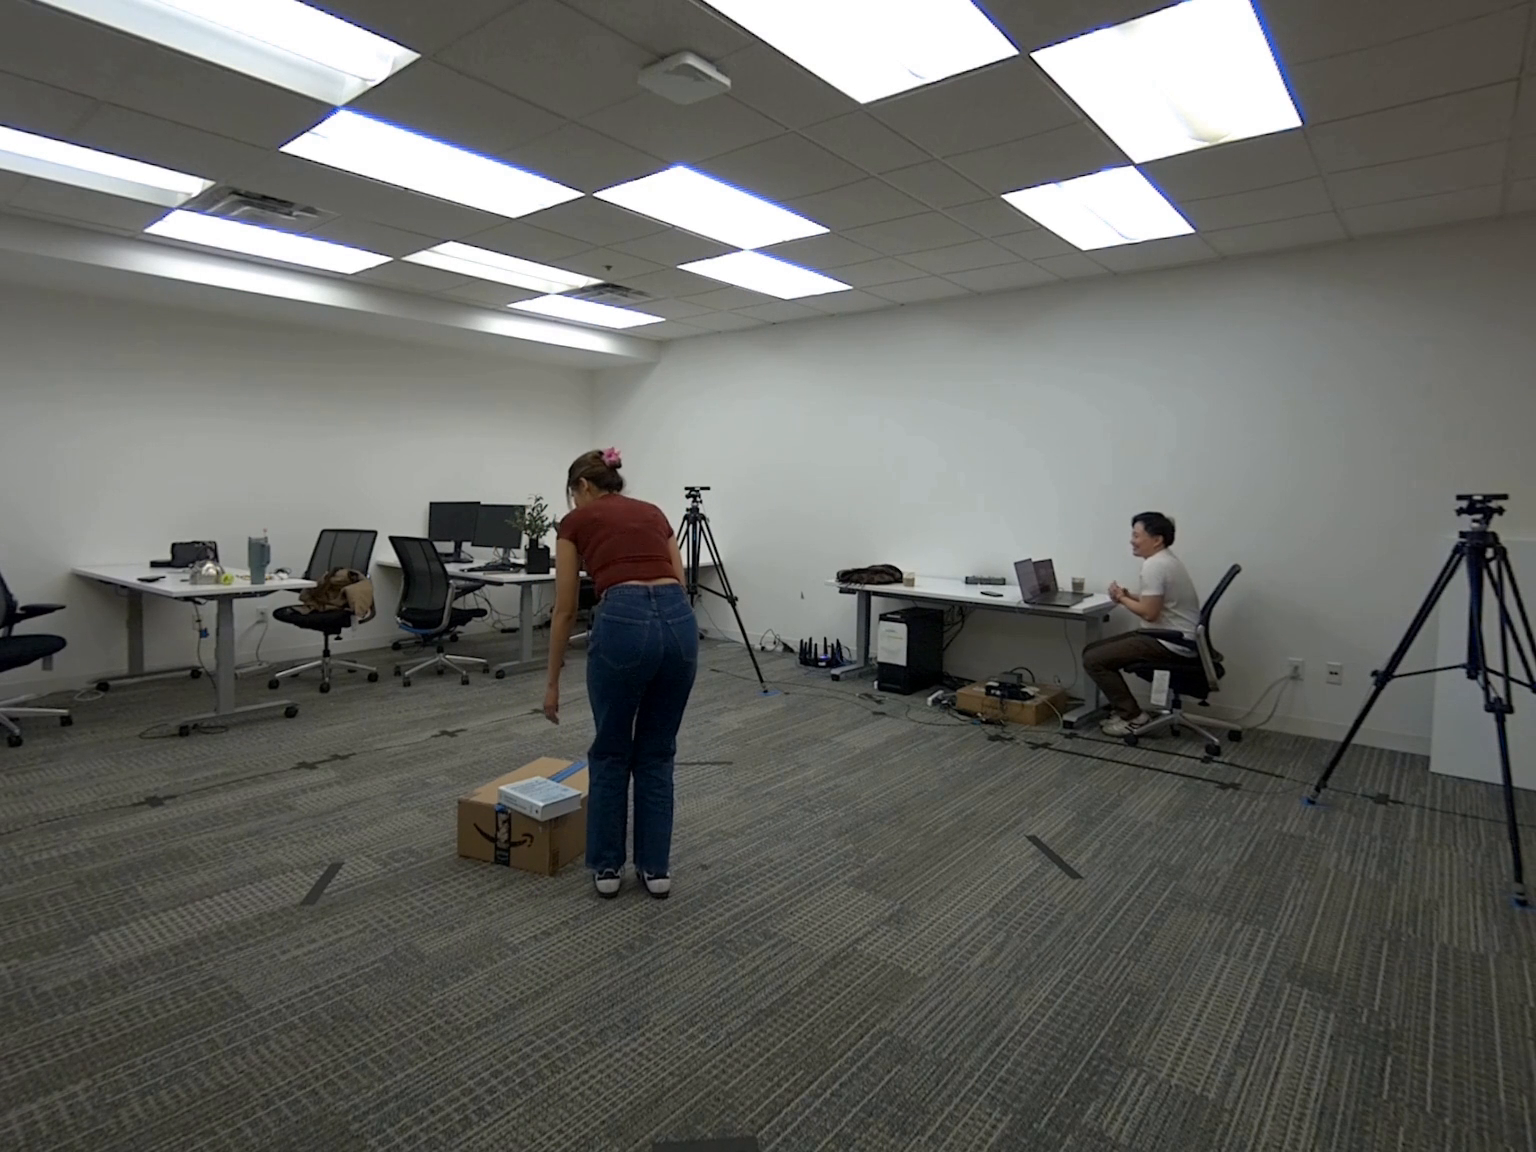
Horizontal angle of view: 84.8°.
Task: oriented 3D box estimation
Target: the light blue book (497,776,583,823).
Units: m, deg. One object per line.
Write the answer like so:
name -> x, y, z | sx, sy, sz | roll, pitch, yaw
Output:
light blue book -> -0.847, 0.809, 3.121 | 0.270, 0.059, 0.185 | 5, 6, 38
